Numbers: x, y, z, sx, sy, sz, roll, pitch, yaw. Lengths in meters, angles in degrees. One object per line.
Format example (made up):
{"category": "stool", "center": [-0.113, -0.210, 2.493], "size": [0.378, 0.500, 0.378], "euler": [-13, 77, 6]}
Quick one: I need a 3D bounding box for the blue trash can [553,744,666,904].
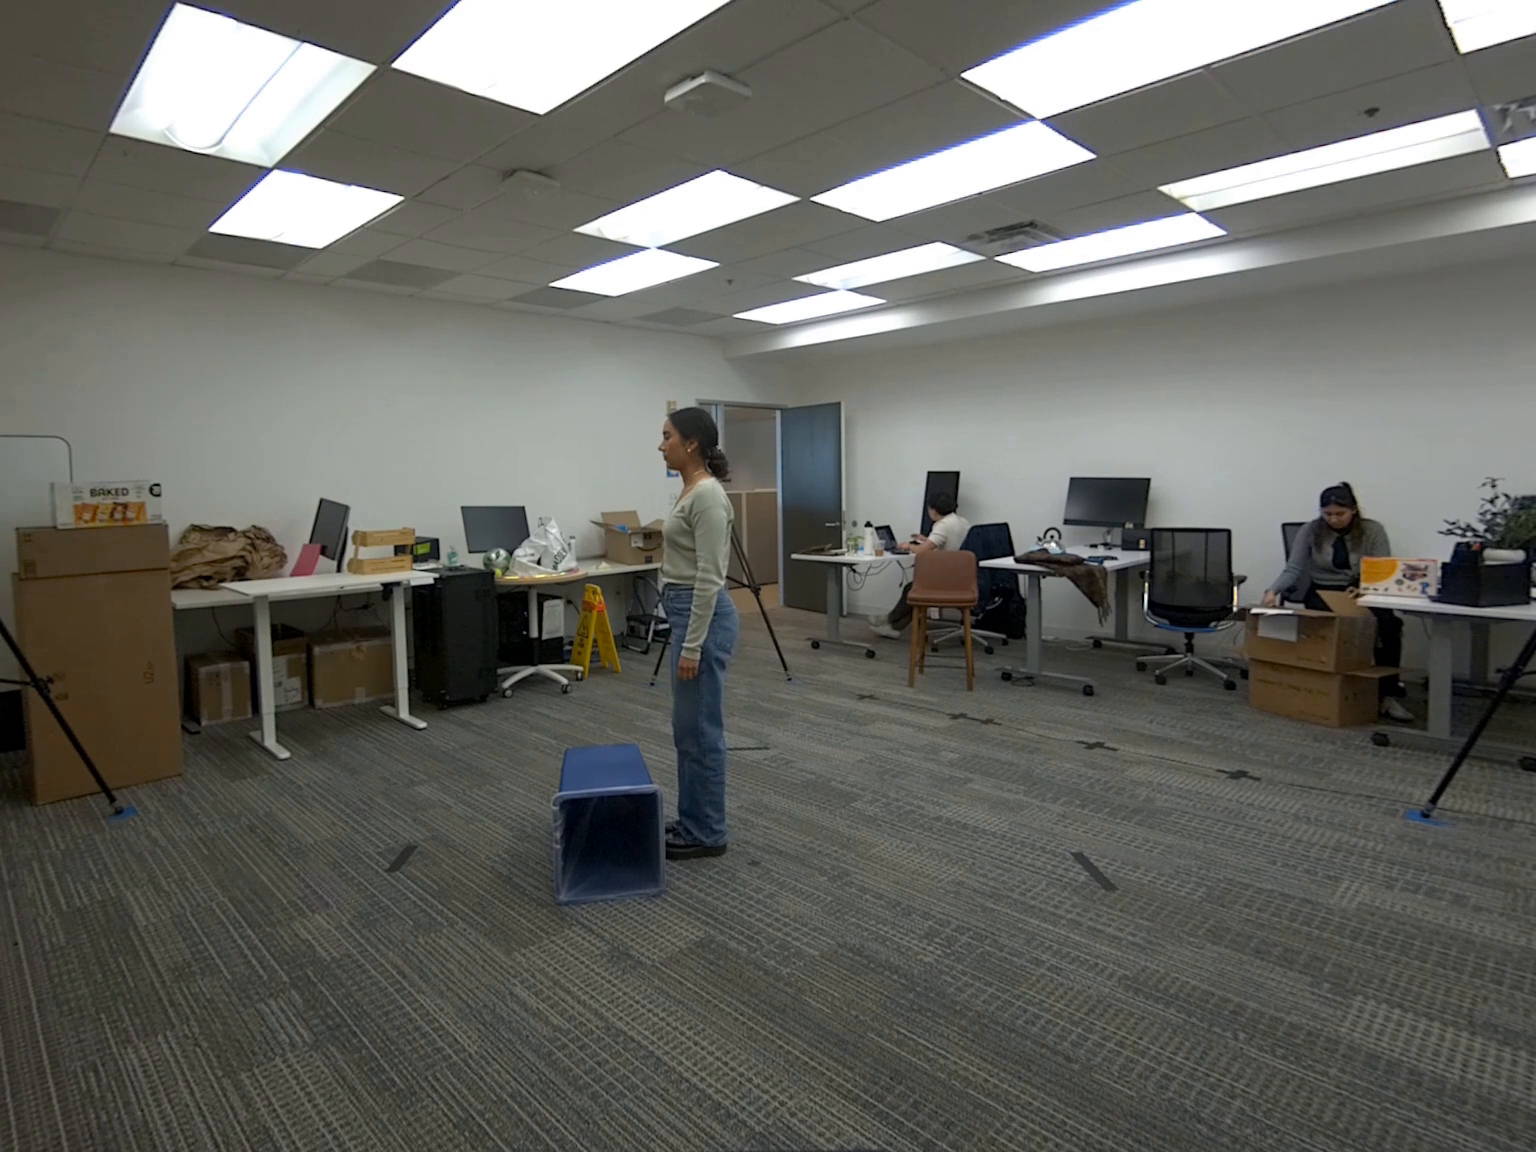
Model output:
{"category": "blue trash can", "center": [-0.601, 0.868, 3.189], "size": [0.370, 0.377, 0.722], "euler": [-1, 4, -11]}
